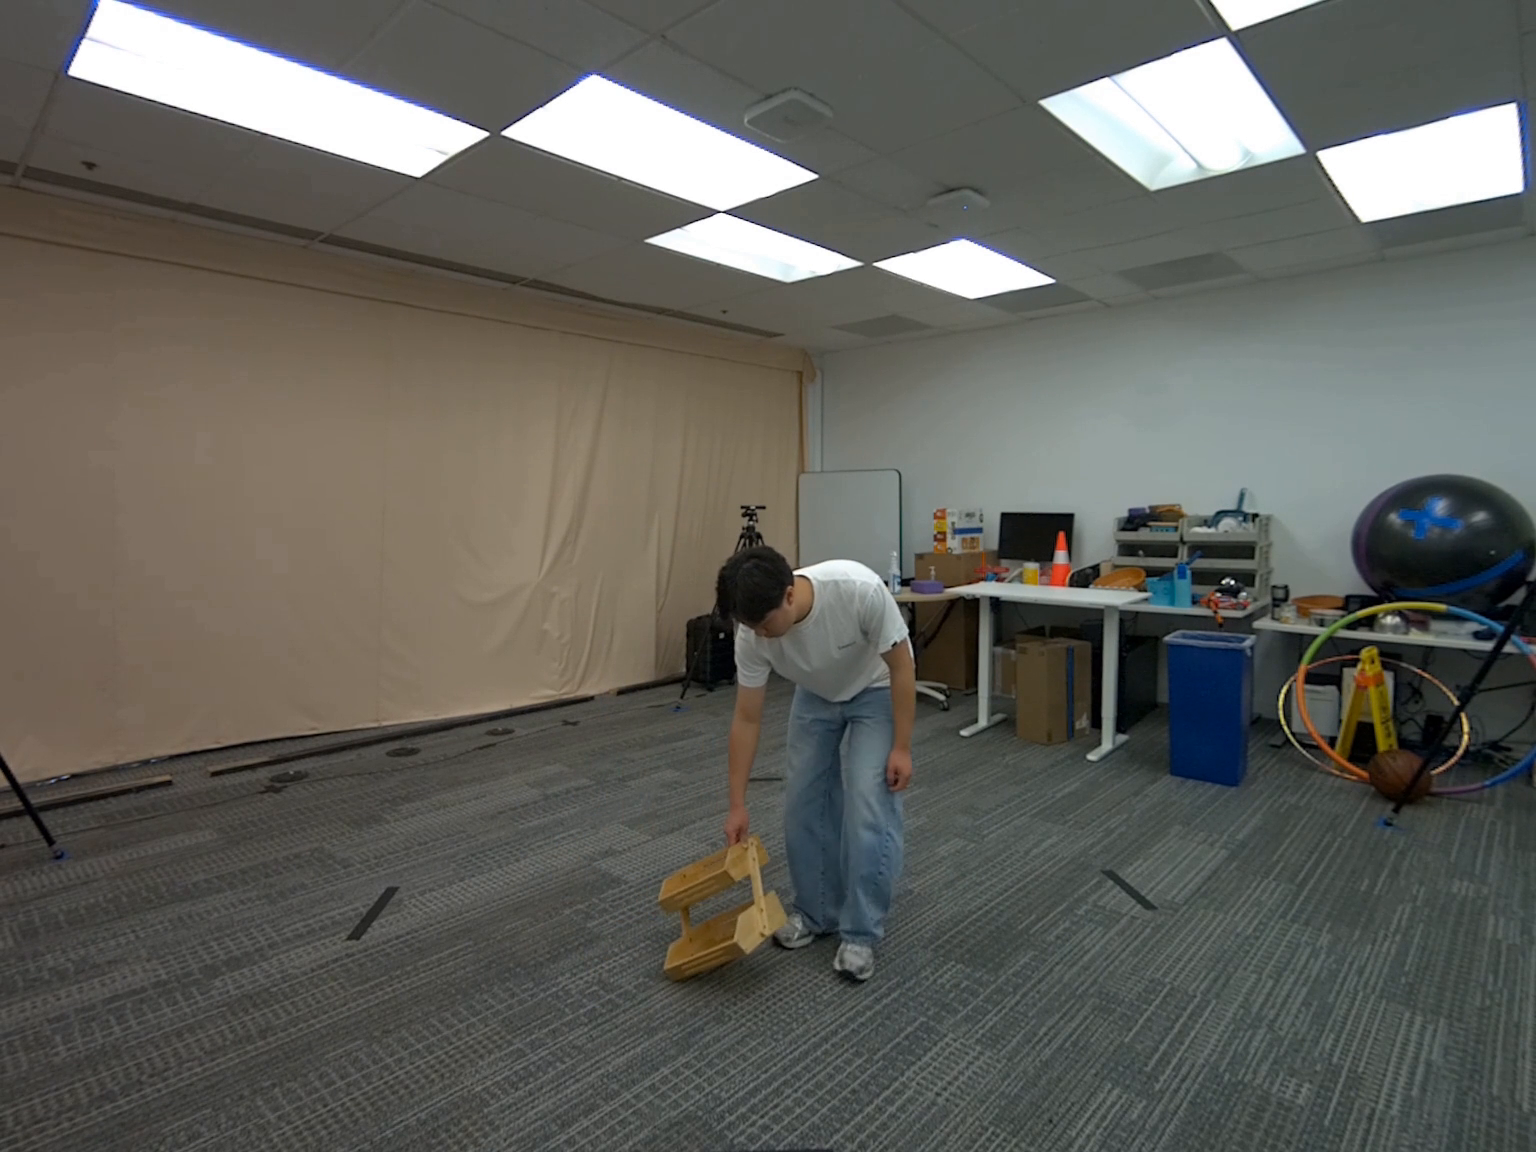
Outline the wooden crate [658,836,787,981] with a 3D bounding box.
[{"bbox_3d":[-0.158,0.994,2.530,0.329,0.277,0.293,-34,-15,29],"label":"wooden crate"}]
